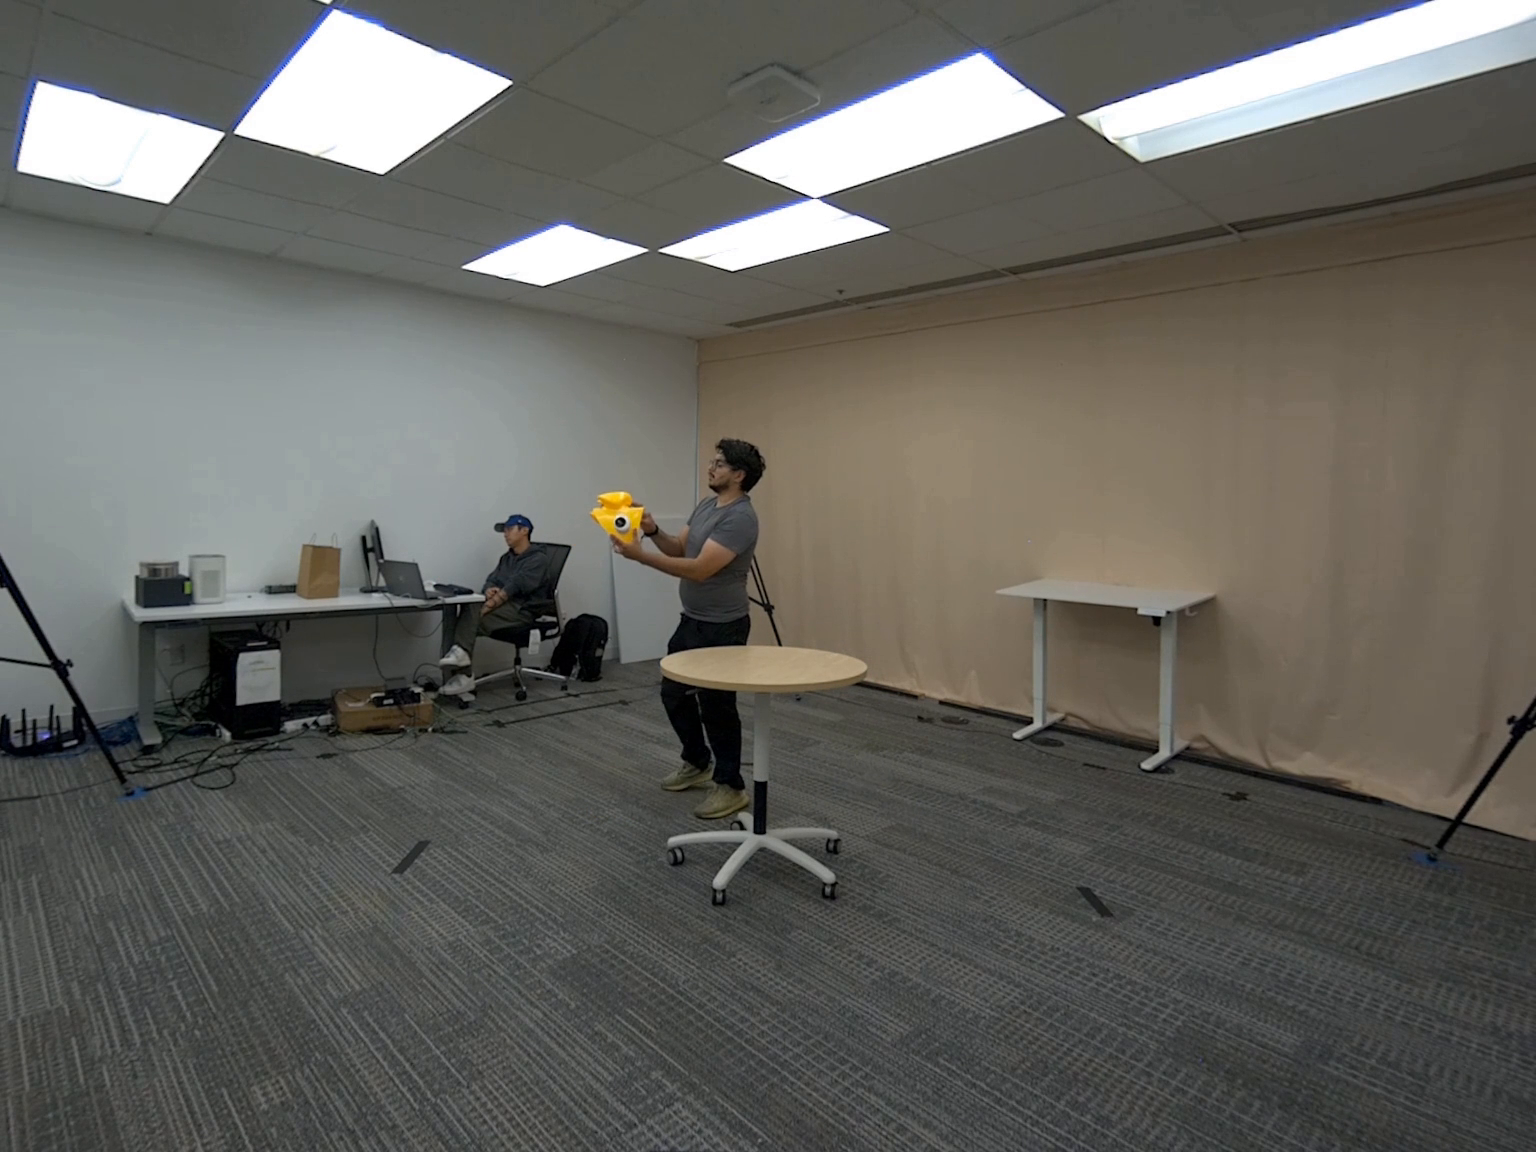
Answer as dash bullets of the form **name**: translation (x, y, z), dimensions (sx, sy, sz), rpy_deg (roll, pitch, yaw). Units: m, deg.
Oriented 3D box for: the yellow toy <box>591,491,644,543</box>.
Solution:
- **yellow toy**: translation (-0.650, -0.207, 3.589), dimensions (0.189, 0.236, 0.204), rpy_deg (-2, -28, -29)
